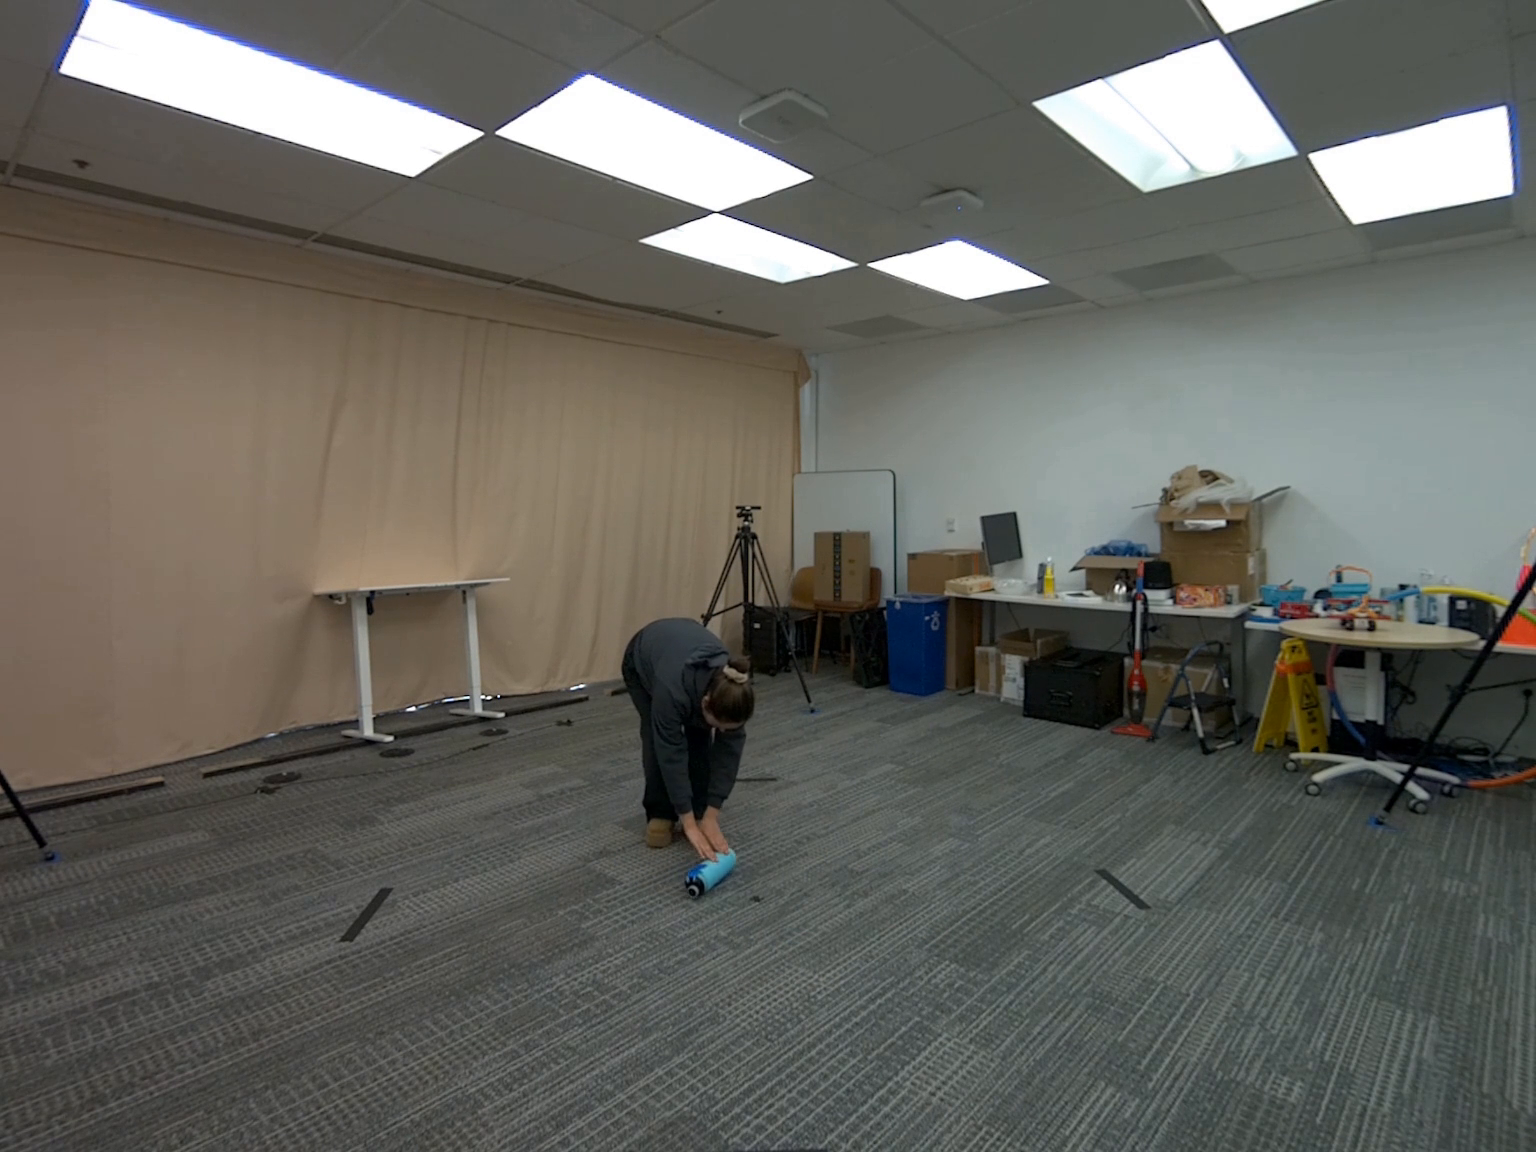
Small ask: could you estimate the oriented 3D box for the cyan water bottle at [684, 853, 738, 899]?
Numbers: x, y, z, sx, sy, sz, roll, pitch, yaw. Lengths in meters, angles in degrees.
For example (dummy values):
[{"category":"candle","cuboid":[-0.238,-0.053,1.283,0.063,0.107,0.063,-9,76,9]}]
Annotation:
[{"category":"cyan water bottle","cuboid":[-0.192,1.088,3.097,0.095,0.092,0.277,2,7,25]}]
